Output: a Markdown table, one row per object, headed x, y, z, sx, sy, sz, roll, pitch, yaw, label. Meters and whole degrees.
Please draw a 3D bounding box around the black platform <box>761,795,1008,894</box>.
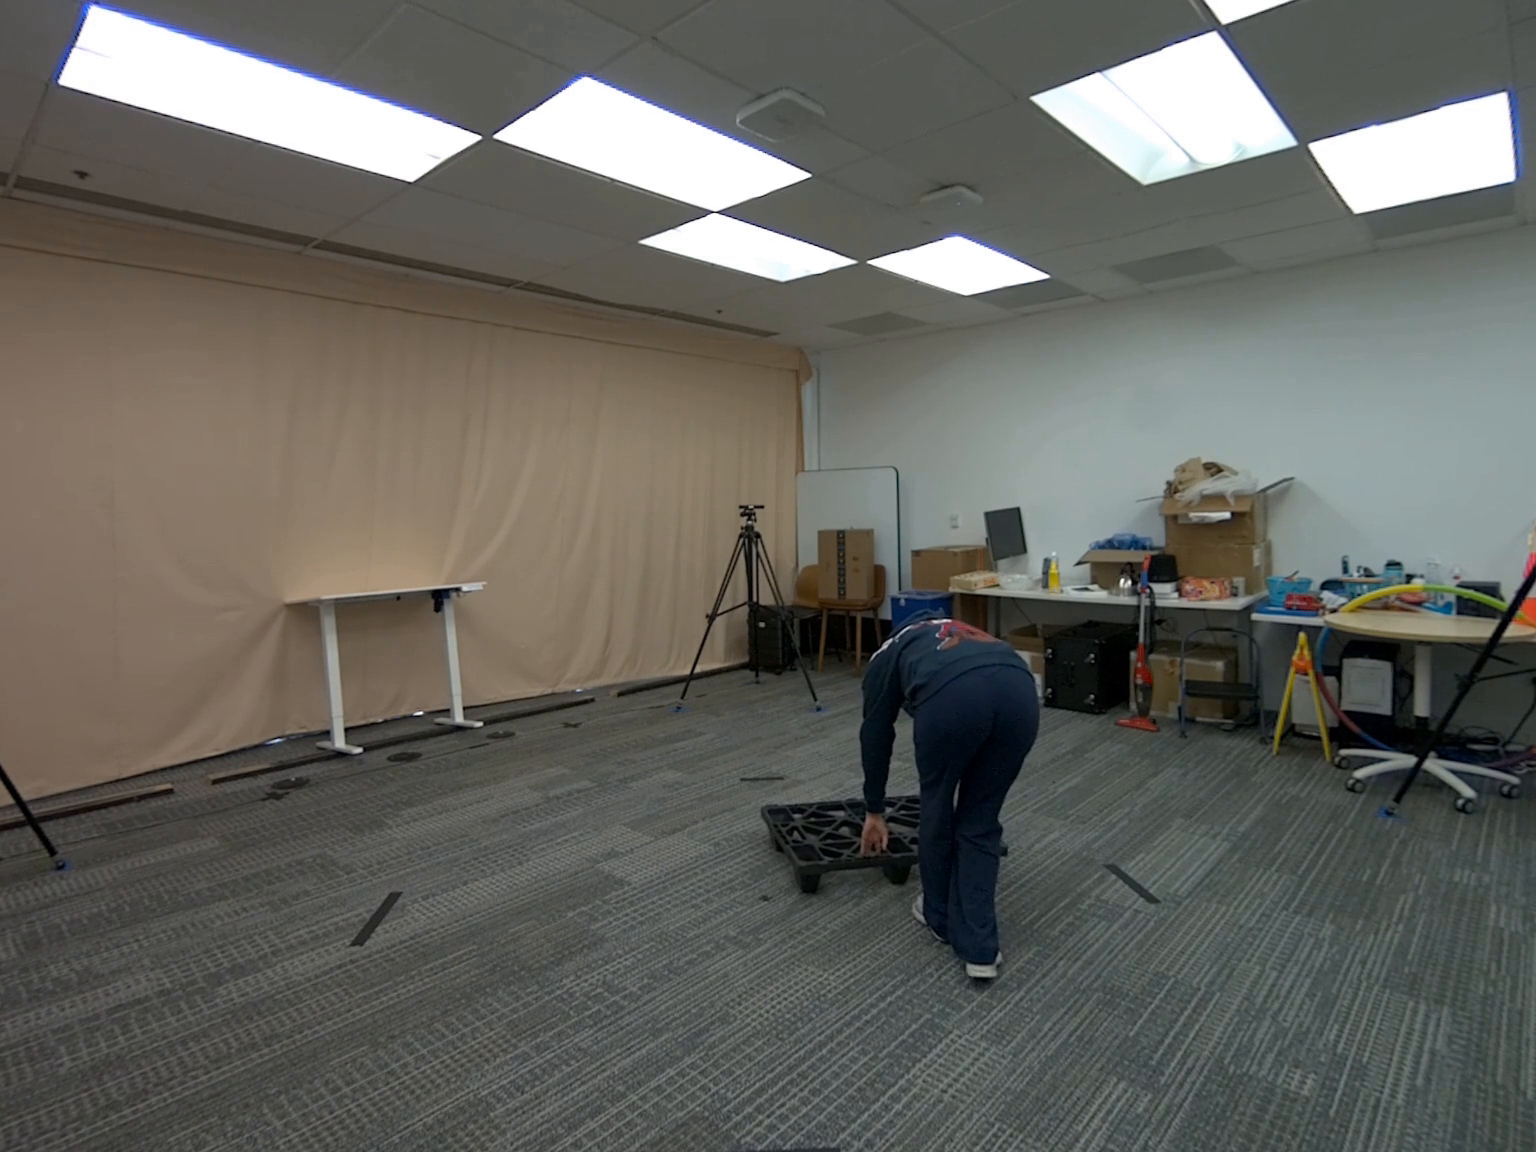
| x | y | z | sx | sy | sz | roll | pitch | yaw | label |
| --- | --- | --- | --- | --- | --- | --- | --- | --- | --- |
| 0.429 | 1.037 | 3.289 | 0.797 | 0.143 | 0.614 | -2 | 5 | -11 | black platform |
